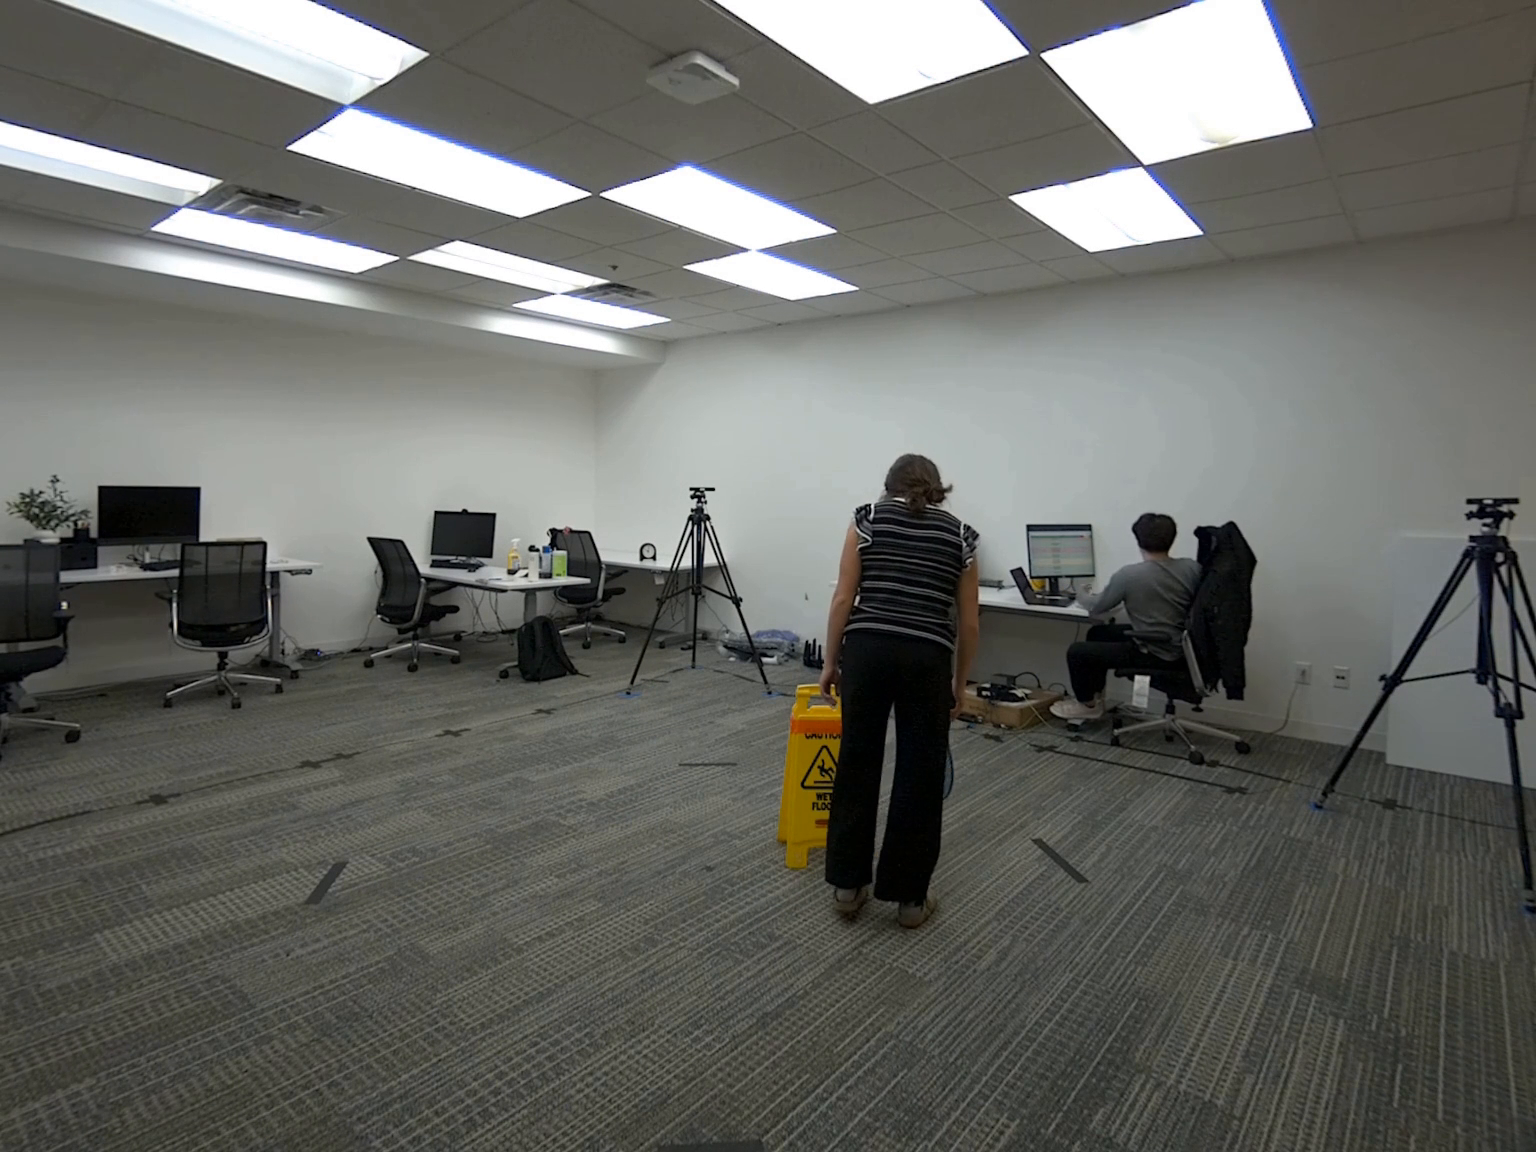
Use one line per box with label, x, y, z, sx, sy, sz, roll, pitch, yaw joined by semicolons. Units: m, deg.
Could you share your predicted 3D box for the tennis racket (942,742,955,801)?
tennis racket;0.582;0.595;2.992;0.031;0.424;0.221;-3;28;-15
